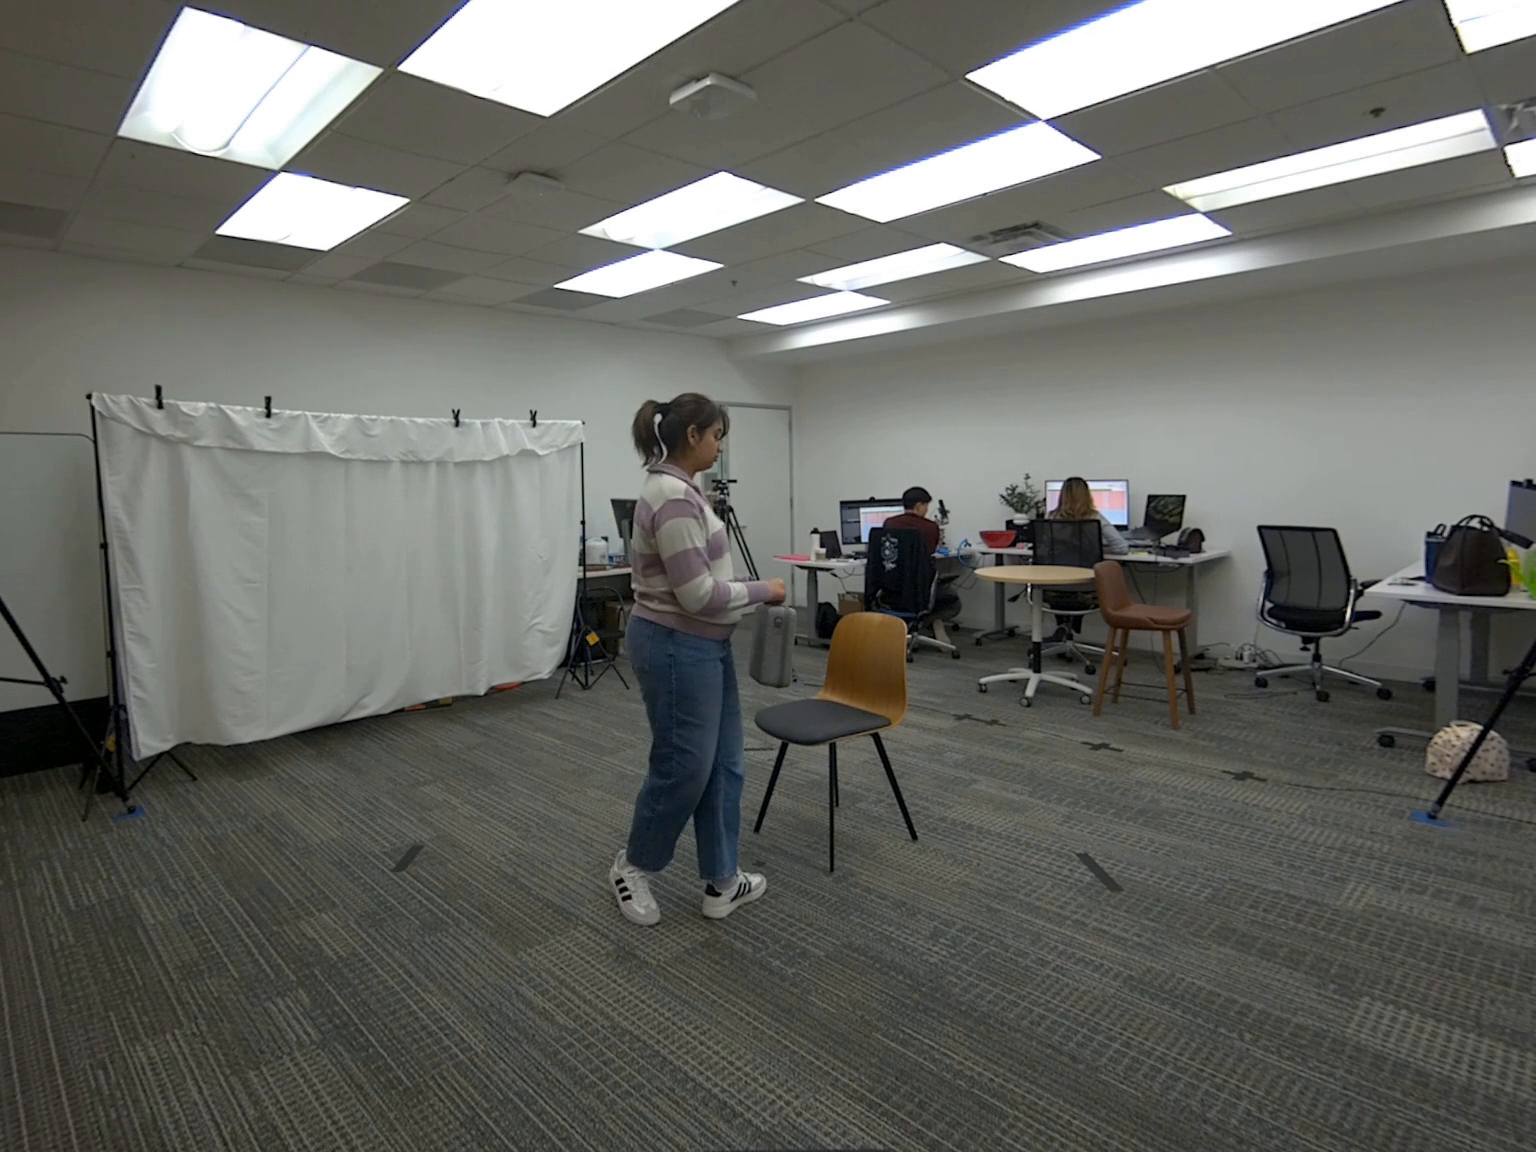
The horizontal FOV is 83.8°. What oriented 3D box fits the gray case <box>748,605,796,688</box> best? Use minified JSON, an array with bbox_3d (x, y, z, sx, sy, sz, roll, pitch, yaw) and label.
[{"bbox_3d":[0.011,0.216,2.754,0.104,0.261,0.257,7,-3,-6],"label":"gray case"}]
